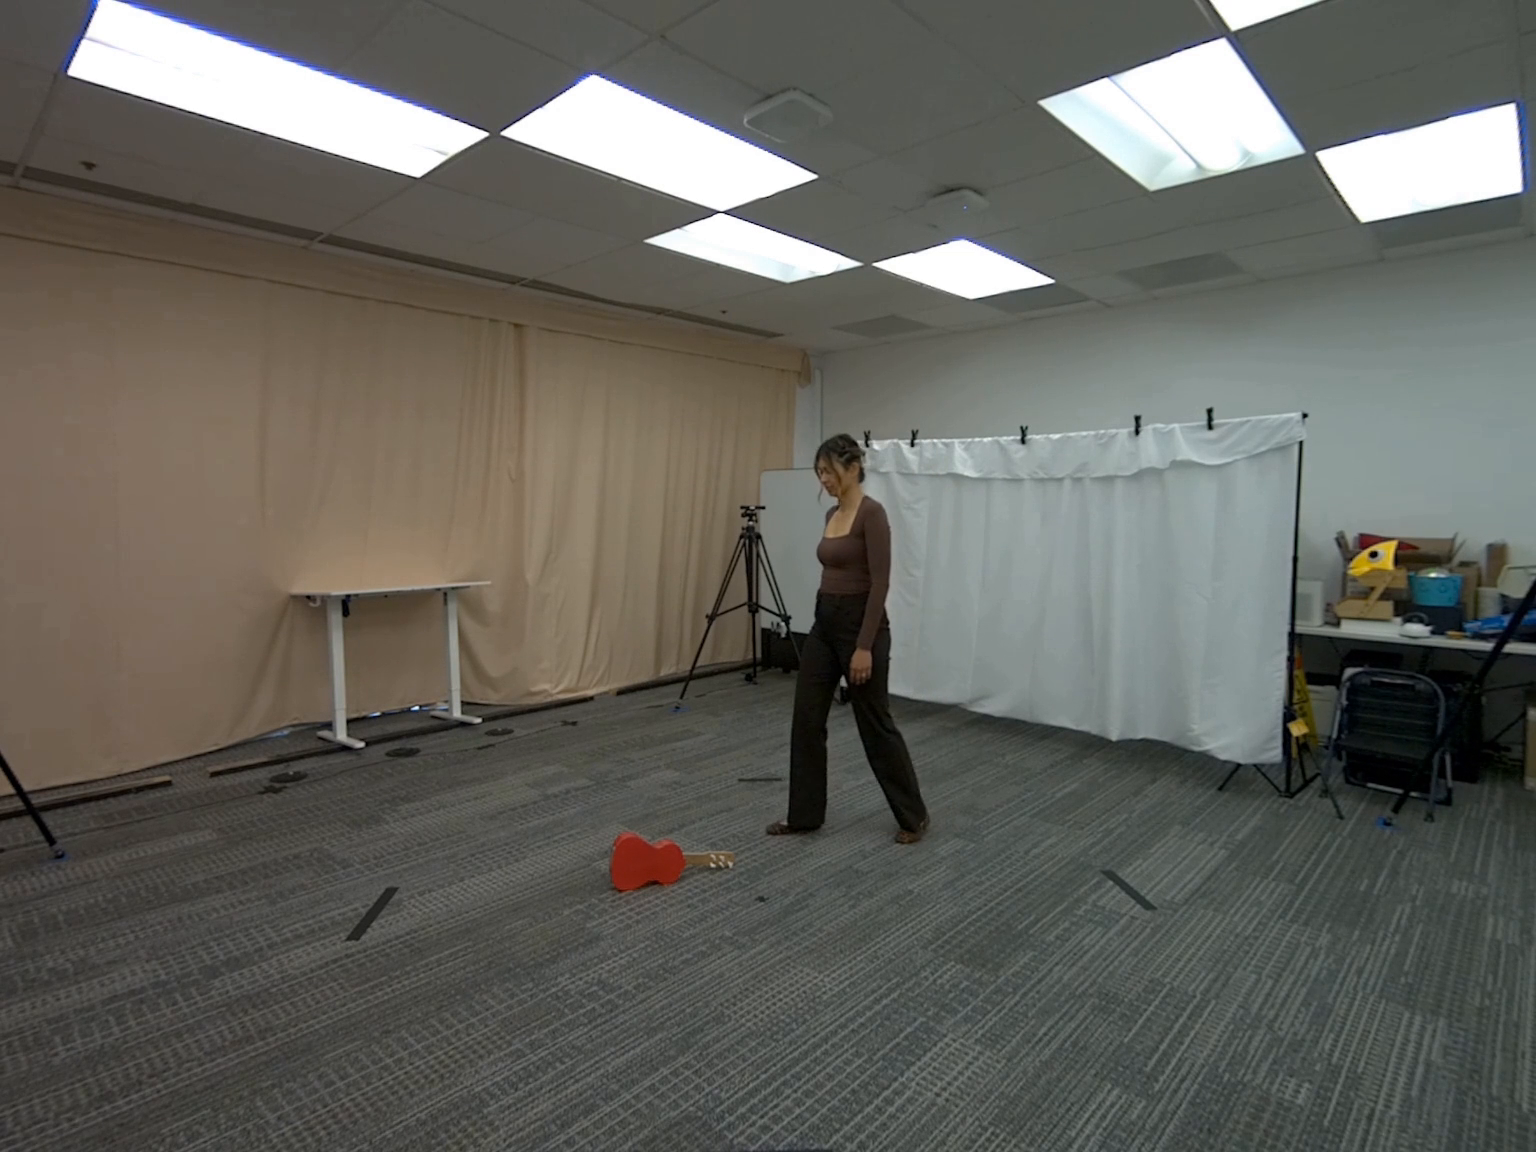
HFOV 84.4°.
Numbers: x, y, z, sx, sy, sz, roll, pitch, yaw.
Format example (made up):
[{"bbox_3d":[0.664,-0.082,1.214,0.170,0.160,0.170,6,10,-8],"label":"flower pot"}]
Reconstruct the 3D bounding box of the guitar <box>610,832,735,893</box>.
[{"bbox_3d":[-0.349,1.038,3.149,0.487,0.193,0.072,-1,0,-21],"label":"guitar"}]
